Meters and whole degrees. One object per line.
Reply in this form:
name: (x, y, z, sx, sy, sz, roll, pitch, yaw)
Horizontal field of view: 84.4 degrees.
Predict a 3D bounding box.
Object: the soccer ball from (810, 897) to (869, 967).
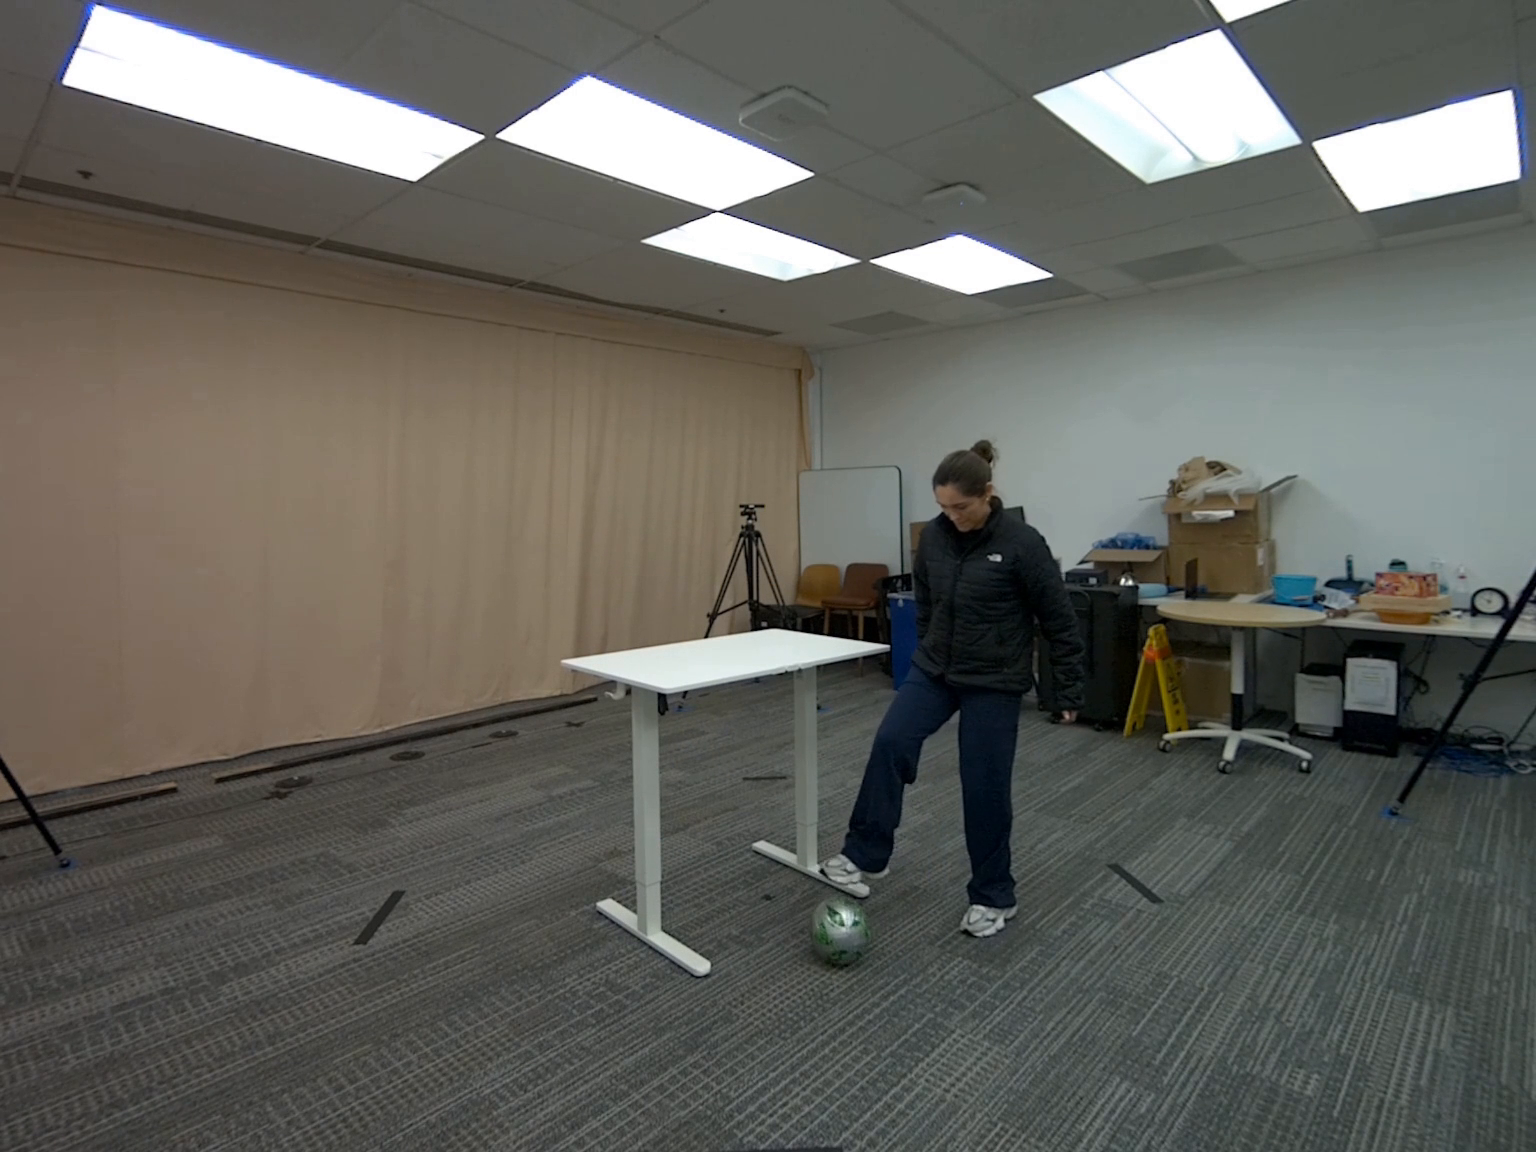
soccer ball: (0.219, 1.072, 2.567, 0.187, 0.187, 0.188, -1, 4, -2)
